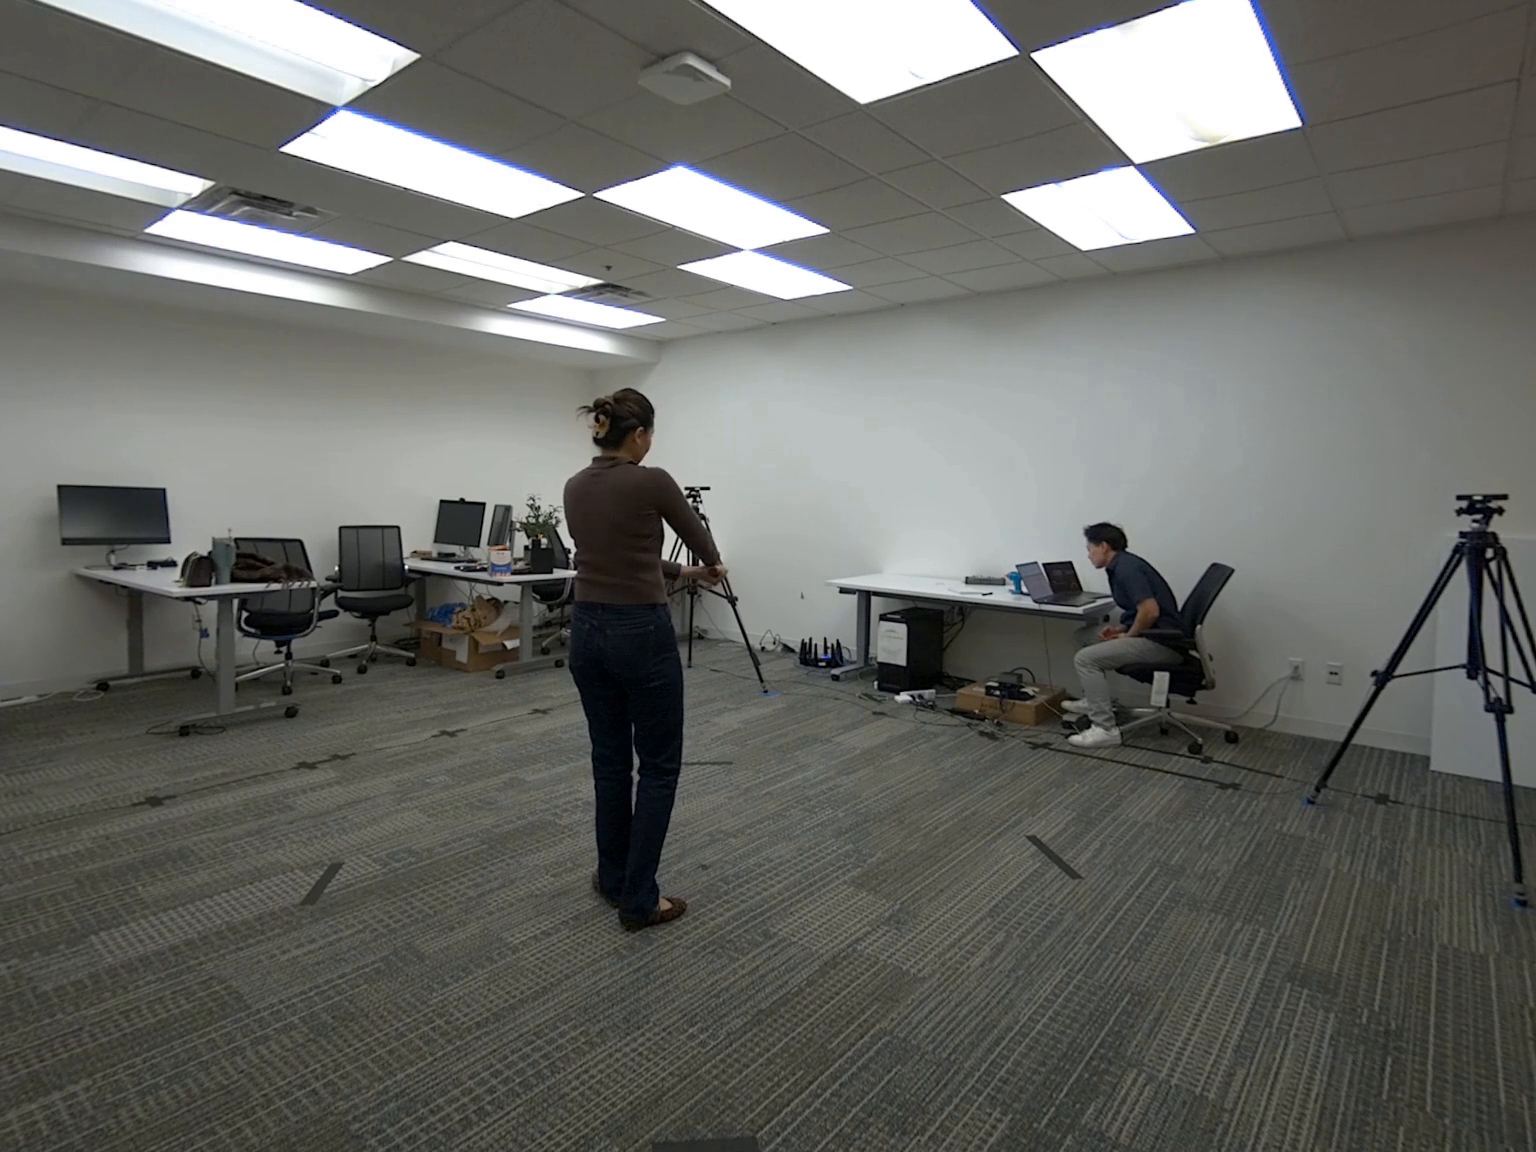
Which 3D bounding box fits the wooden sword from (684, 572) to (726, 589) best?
[{"bbox_3d":[-0.267,0.024,3.430,0.051,0.024,1.029,-25,0,-13],"label":"wooden sword"}]
